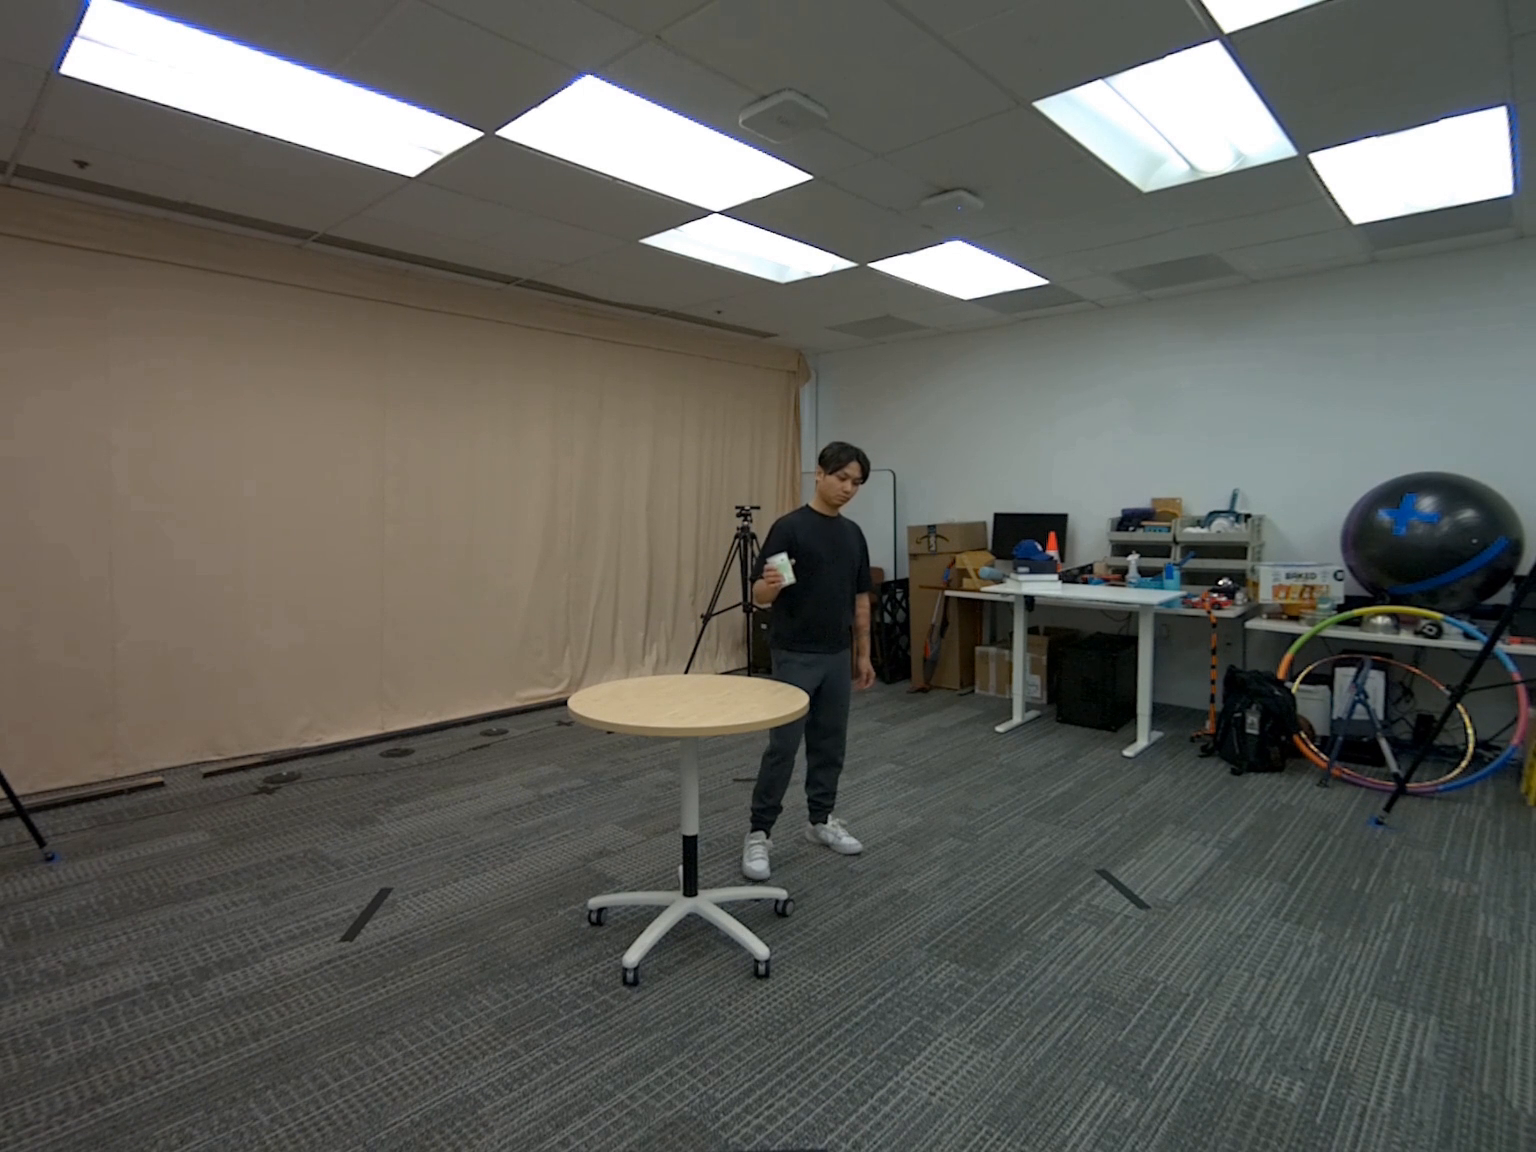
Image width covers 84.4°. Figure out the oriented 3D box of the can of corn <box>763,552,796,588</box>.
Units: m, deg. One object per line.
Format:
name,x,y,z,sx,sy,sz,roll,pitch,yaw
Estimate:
can of corn,0.041,-0.019,2.940,0.074,0.111,0.074,-18,0,-2
